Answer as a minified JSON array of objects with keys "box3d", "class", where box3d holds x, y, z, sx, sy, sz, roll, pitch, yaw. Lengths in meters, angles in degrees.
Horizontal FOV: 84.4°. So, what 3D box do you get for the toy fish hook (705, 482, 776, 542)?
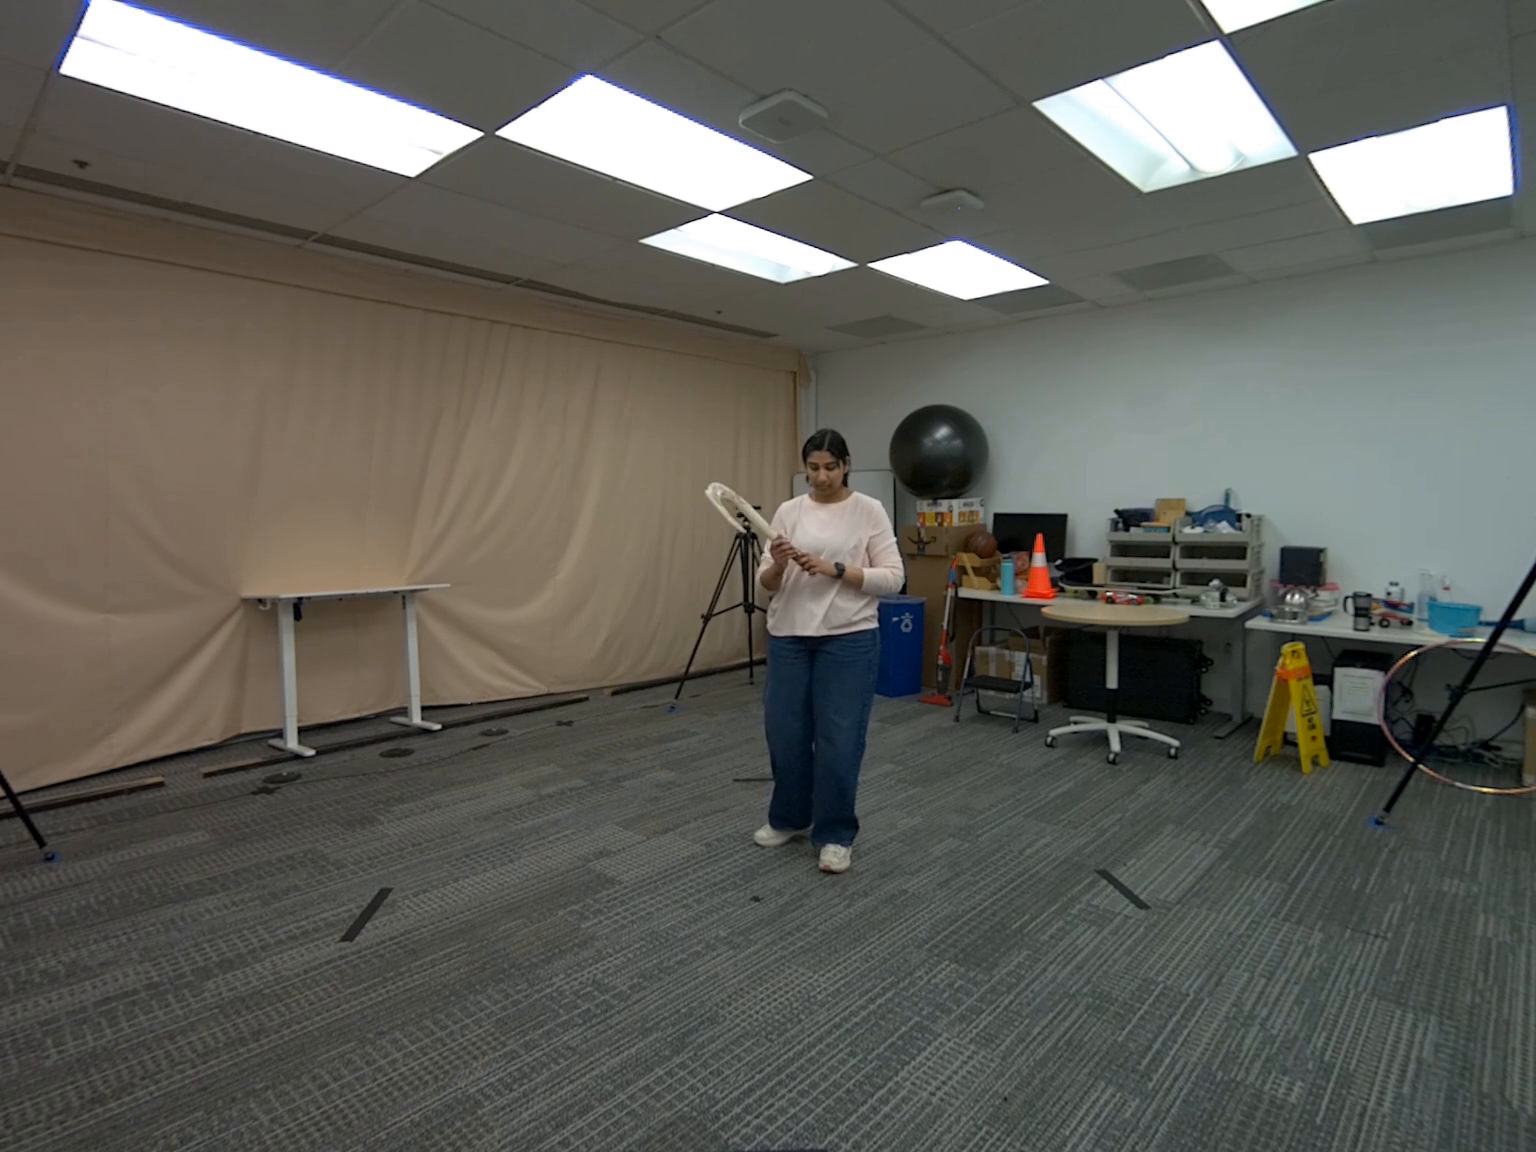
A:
[{"box3d":[-0.025,-0.150,3.003,0.503,0.048,0.225,40,28,-7],"class":"toy fish hook"}]
